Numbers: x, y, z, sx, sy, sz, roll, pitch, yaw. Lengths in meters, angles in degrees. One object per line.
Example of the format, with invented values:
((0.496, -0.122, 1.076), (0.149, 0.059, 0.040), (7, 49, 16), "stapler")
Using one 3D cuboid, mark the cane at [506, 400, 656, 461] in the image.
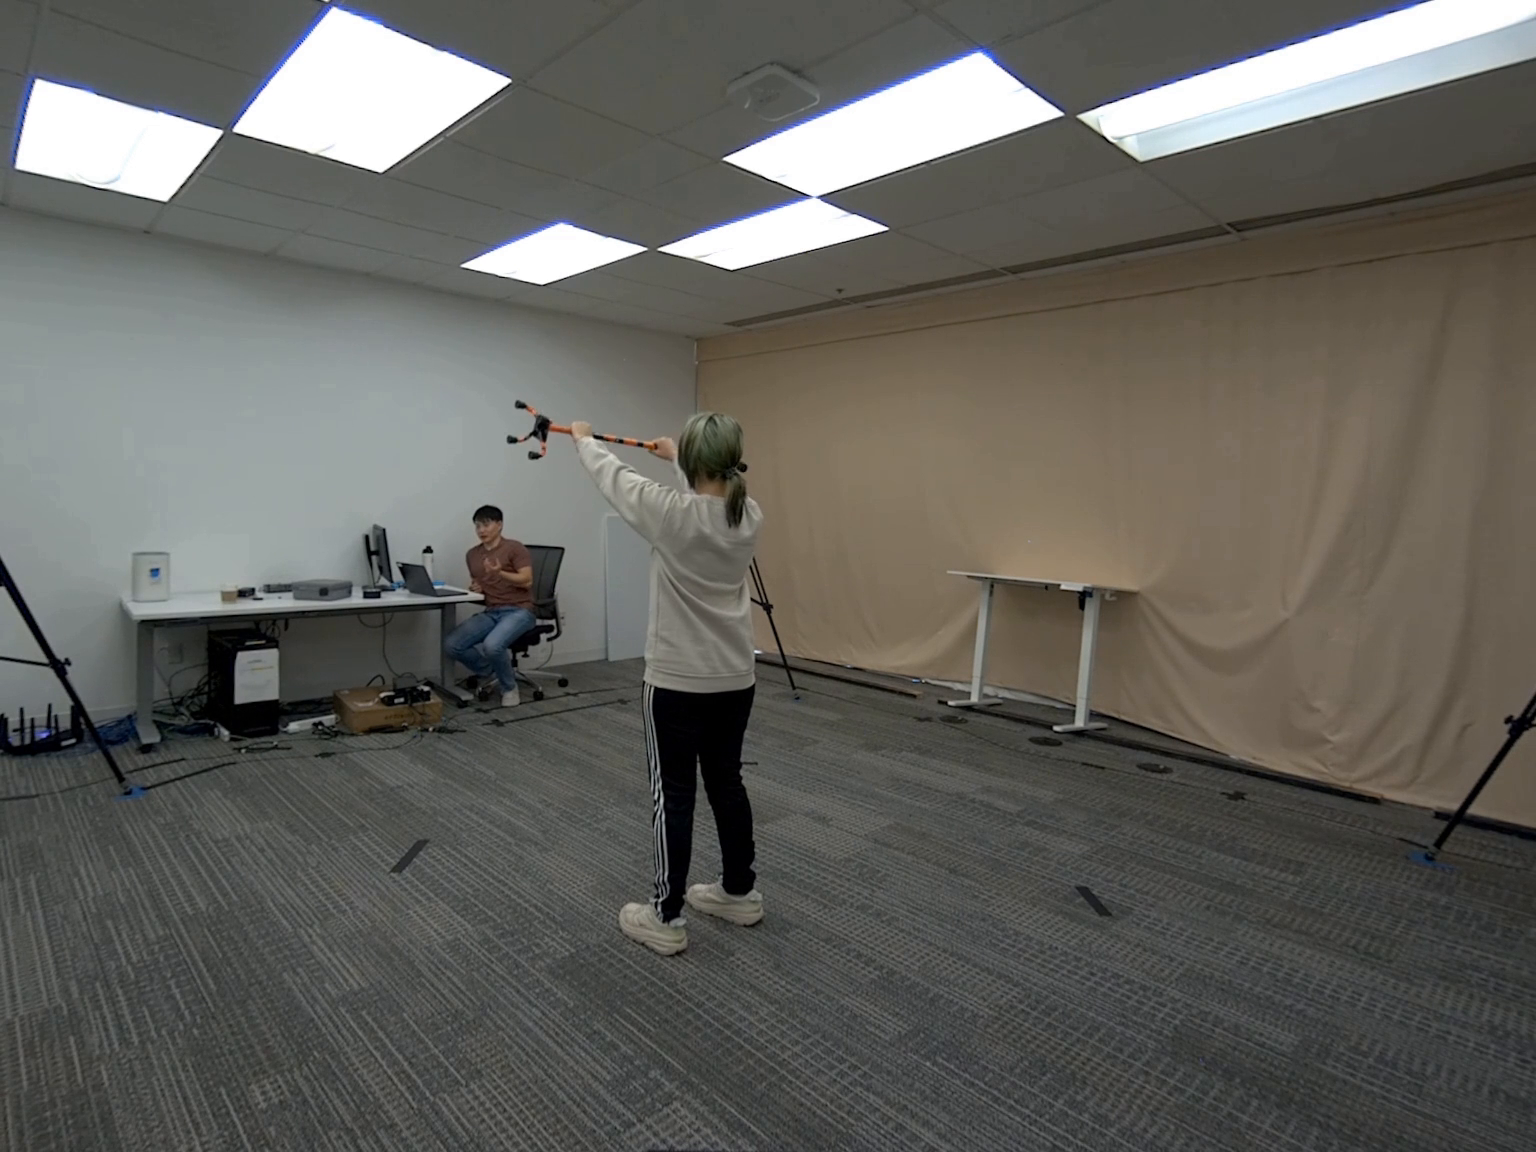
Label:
((-0.470, -0.459, 3.049), (0.885, 0.150, 0.213), (3, 21, -41), "cane")
